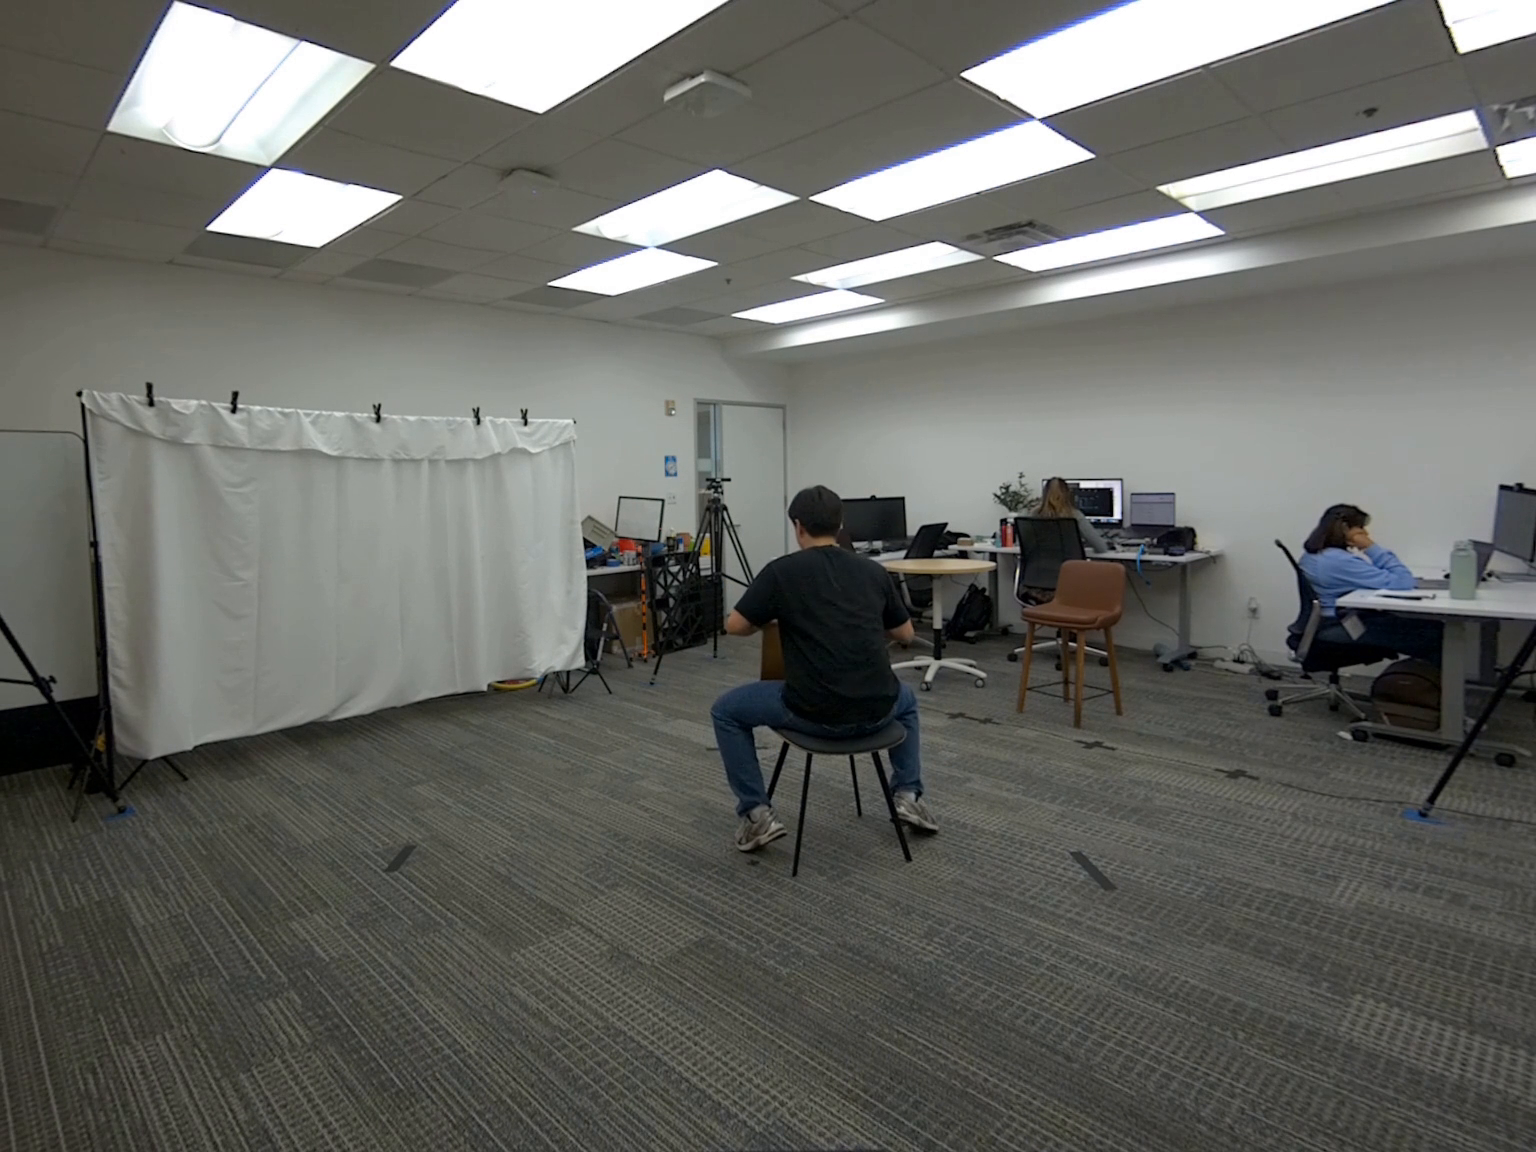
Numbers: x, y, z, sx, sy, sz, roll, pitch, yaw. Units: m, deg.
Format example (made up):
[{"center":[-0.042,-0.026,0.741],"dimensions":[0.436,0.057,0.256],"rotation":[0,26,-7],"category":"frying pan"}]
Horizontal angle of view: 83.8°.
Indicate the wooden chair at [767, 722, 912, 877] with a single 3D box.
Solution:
[{"center":[0.235,0.602,3.220],"dimensions":[0.471,0.877,0.531],"rotation":[-2,1,-16],"category":"wooden chair"}]
